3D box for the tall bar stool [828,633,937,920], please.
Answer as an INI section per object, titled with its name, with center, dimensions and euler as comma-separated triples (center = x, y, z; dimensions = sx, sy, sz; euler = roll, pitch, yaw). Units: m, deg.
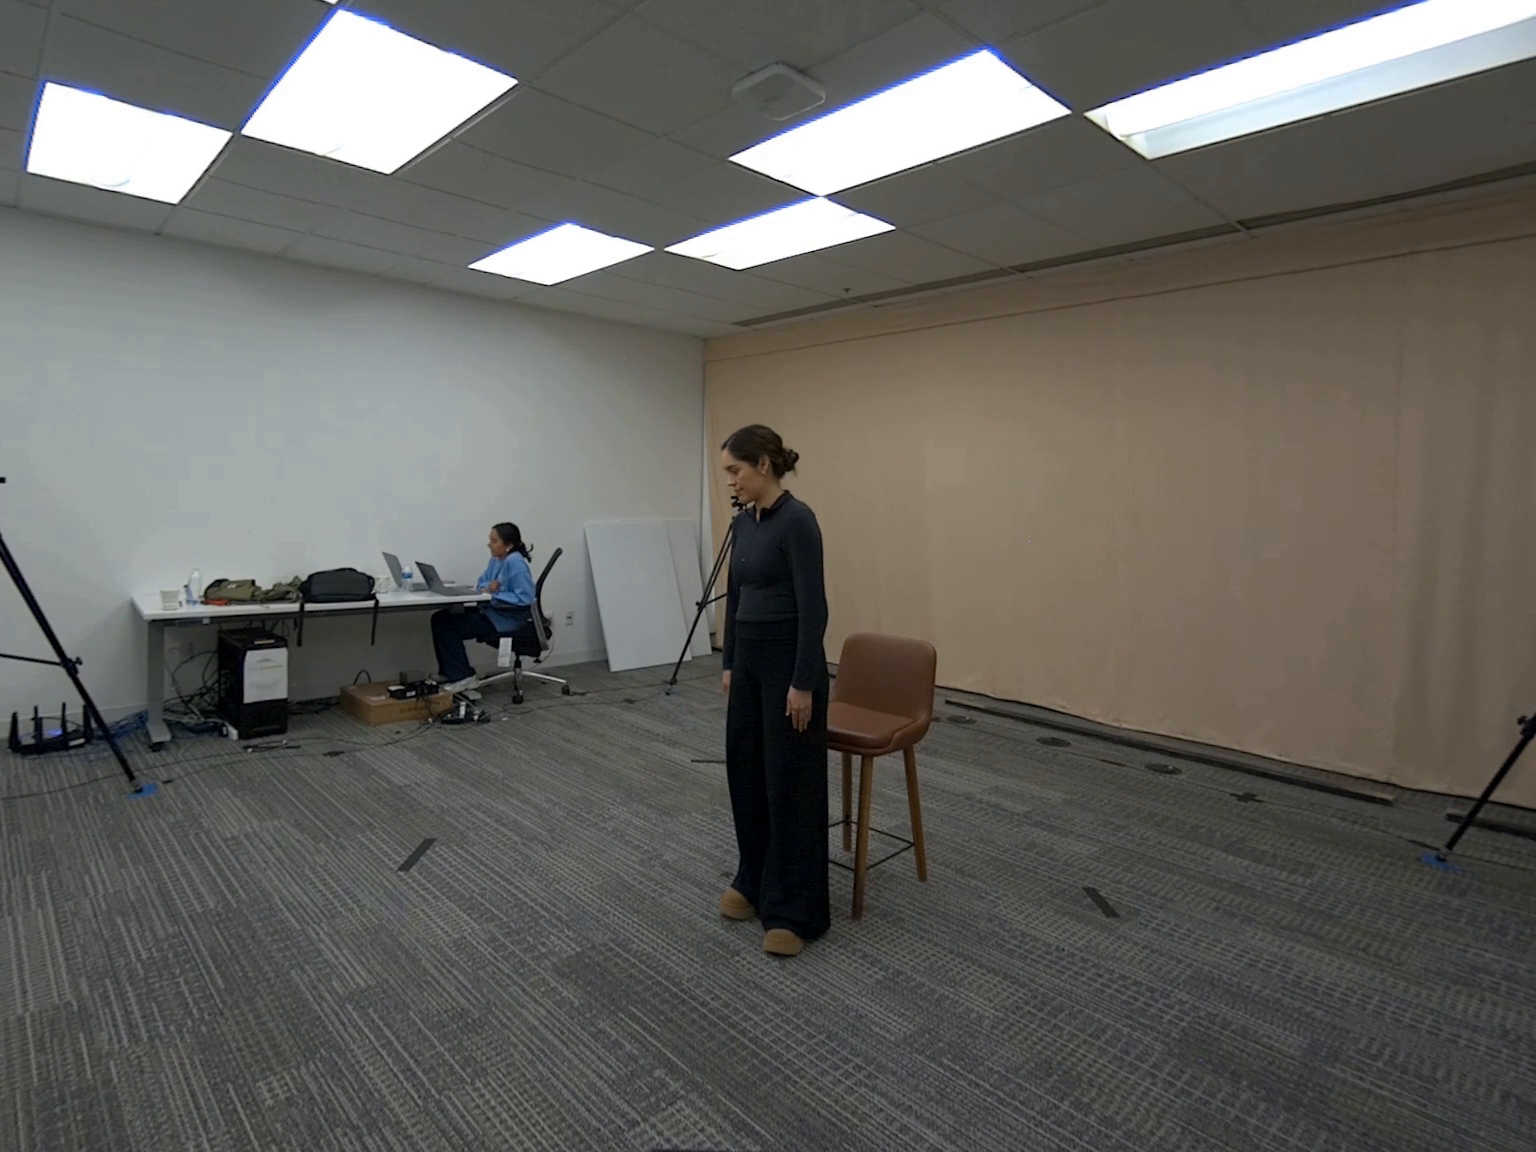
[tall bar stool]
center = 0.317, 0.683, 3.059
dimensions = 0.468, 0.889, 0.456
euler = 4, 2, 44
